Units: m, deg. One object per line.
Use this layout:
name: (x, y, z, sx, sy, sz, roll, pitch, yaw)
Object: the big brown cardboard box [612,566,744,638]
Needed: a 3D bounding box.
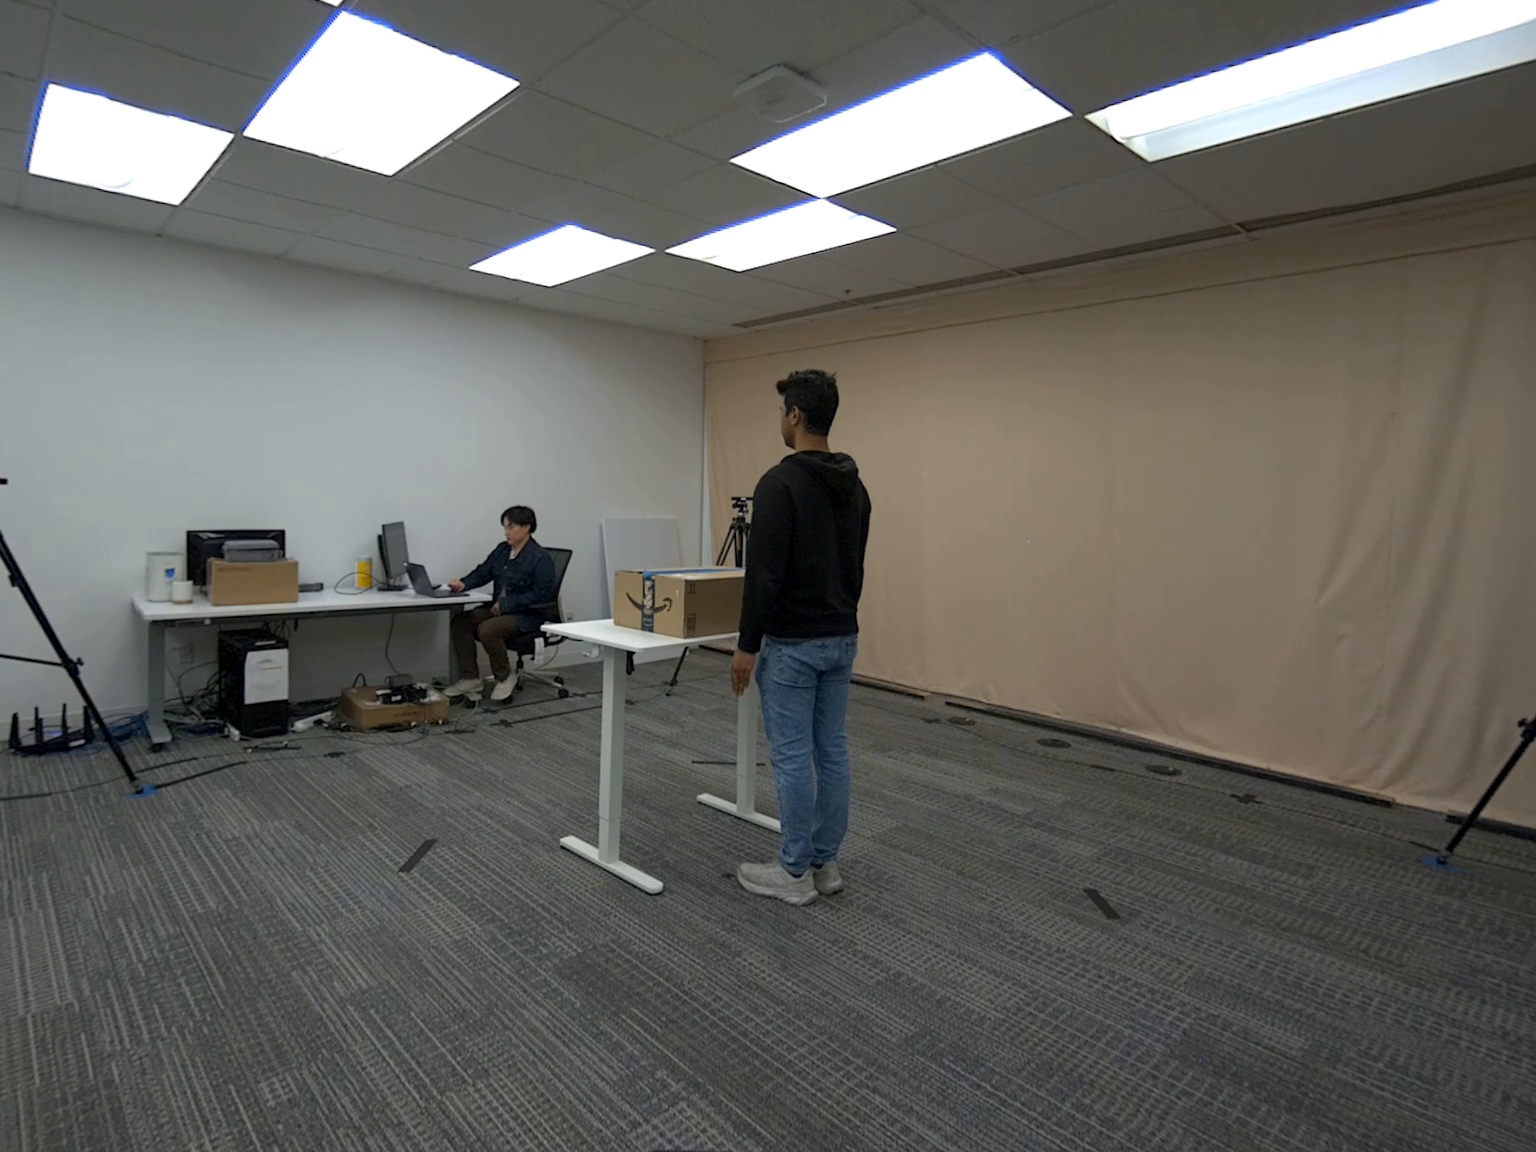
big brown cardboard box: (-0.270, 0.090, 3.357, 0.428, 0.233, 0.575, 5, 5, 42)
